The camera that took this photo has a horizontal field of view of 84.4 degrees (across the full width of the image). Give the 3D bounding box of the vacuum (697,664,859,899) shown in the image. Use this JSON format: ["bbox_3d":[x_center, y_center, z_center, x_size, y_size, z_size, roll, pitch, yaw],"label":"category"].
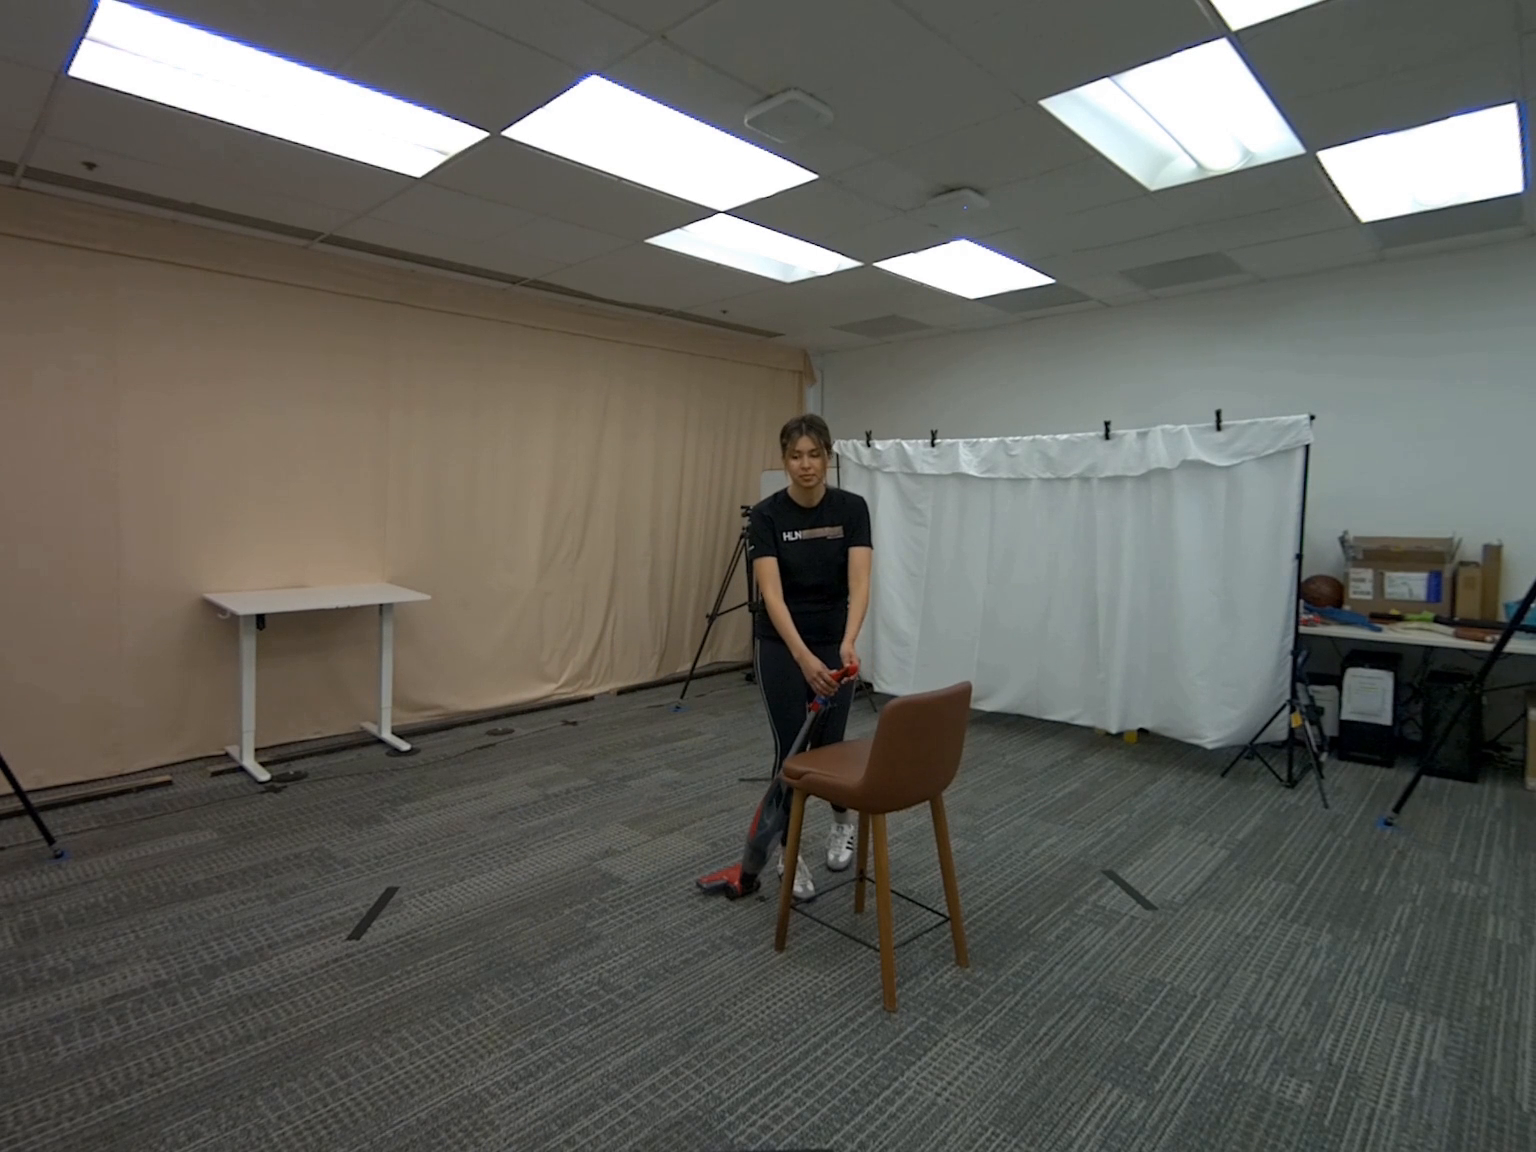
[{"bbox_3d":[0.060,0.708,2.812,0.245,1.046,0.149,-8,44,-46],"label":"vacuum"}]
